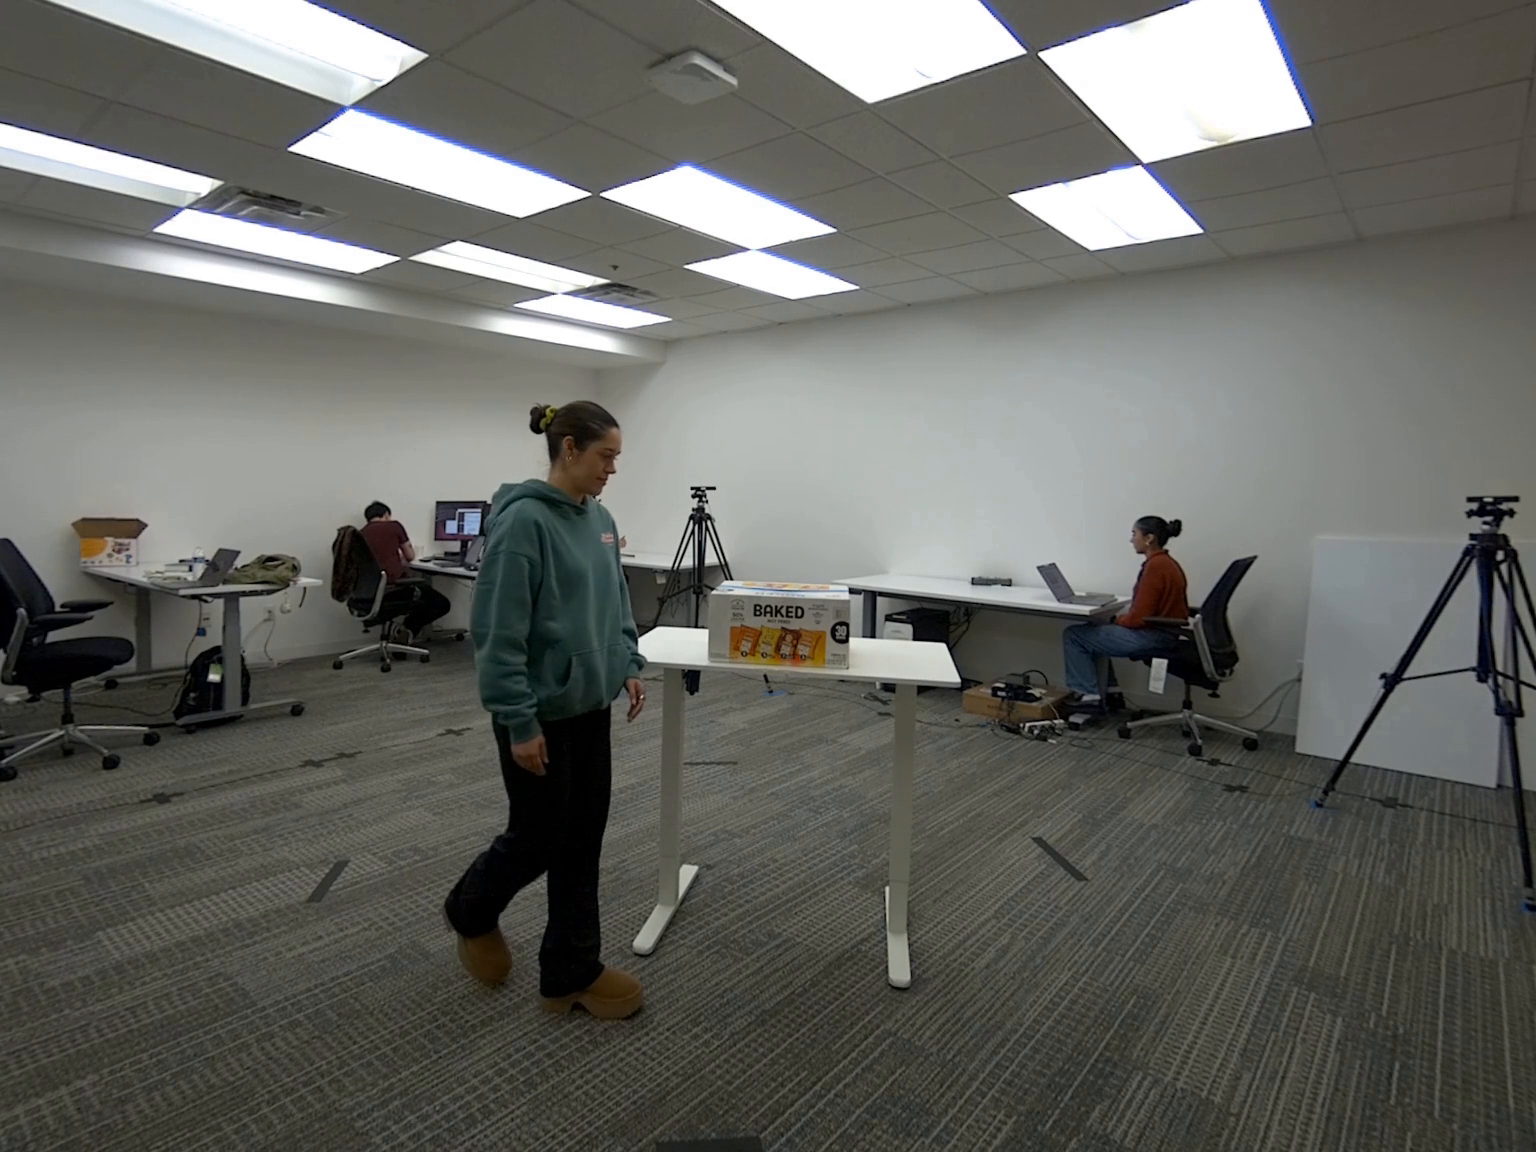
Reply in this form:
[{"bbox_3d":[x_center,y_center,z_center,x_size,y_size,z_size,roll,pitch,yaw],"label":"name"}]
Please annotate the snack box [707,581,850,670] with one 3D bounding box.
[{"bbox_3d":[0.036,0.139,2.601,0.409,0.205,0.339,2,5,7],"label":"snack box"}]
